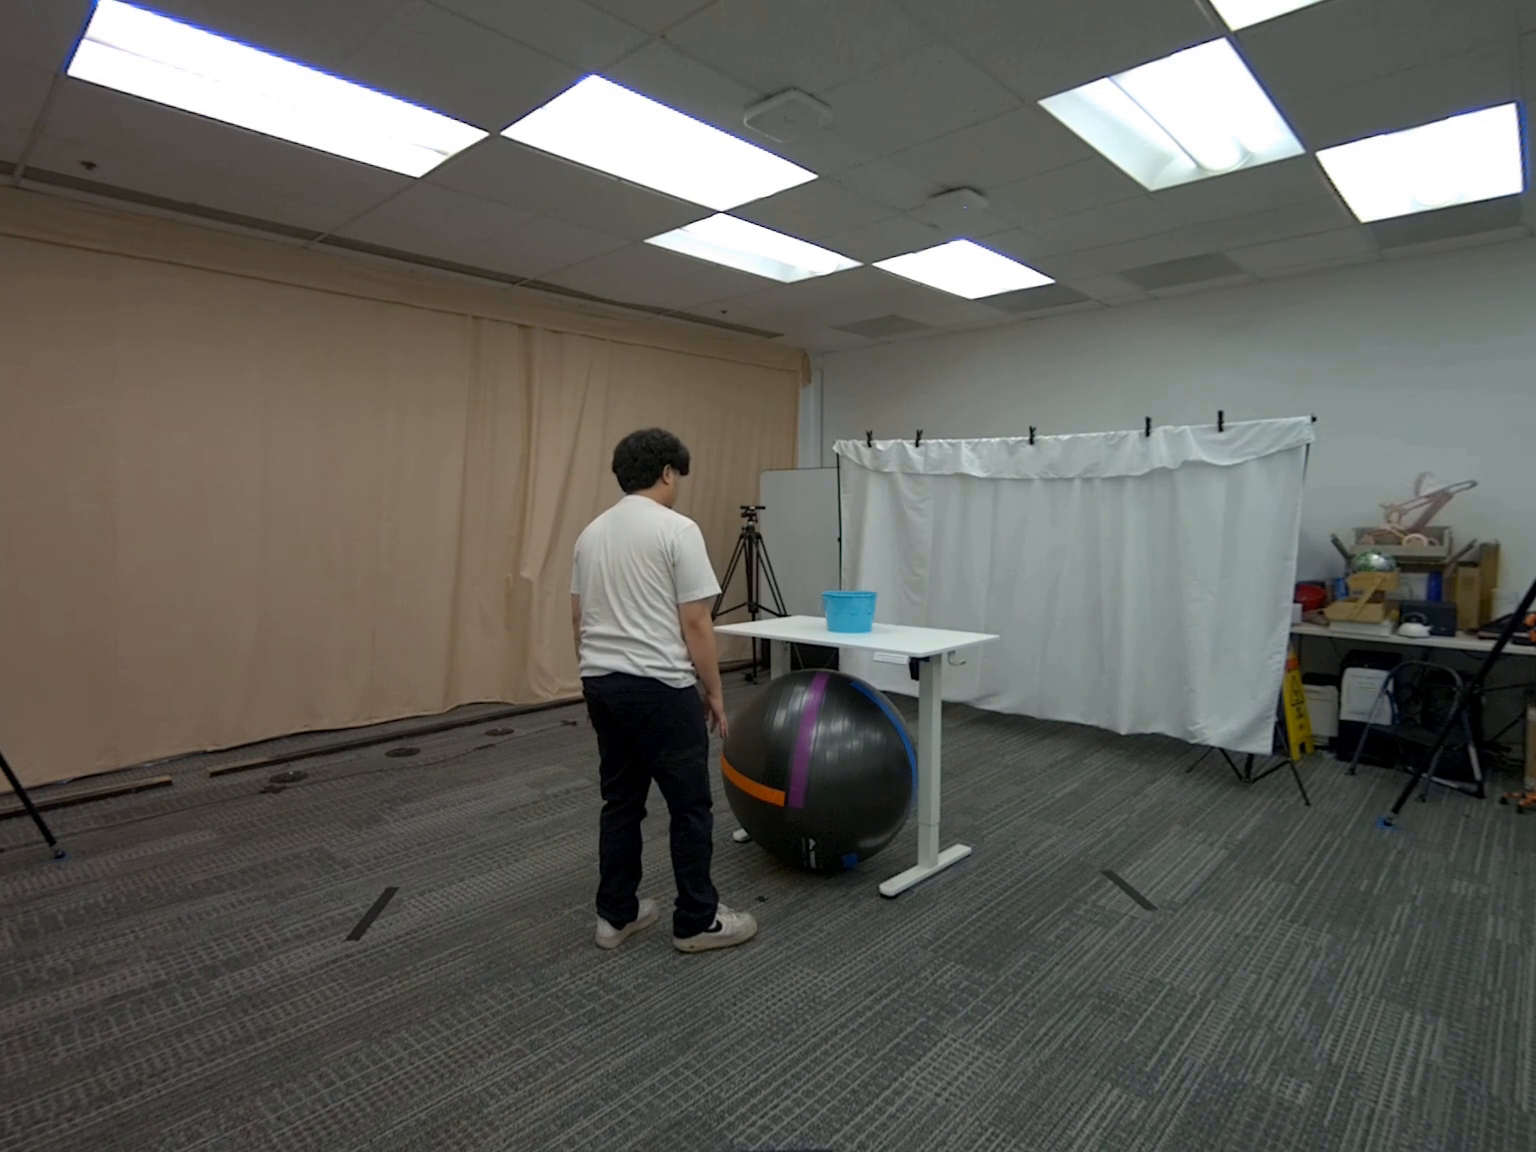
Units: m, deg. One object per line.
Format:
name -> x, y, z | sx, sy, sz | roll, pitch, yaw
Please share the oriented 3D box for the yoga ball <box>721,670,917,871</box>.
yoga ball -> 0.198, 0.753, 3.289 | 0.757, 0.756, 0.760 | 0, 4, -2
